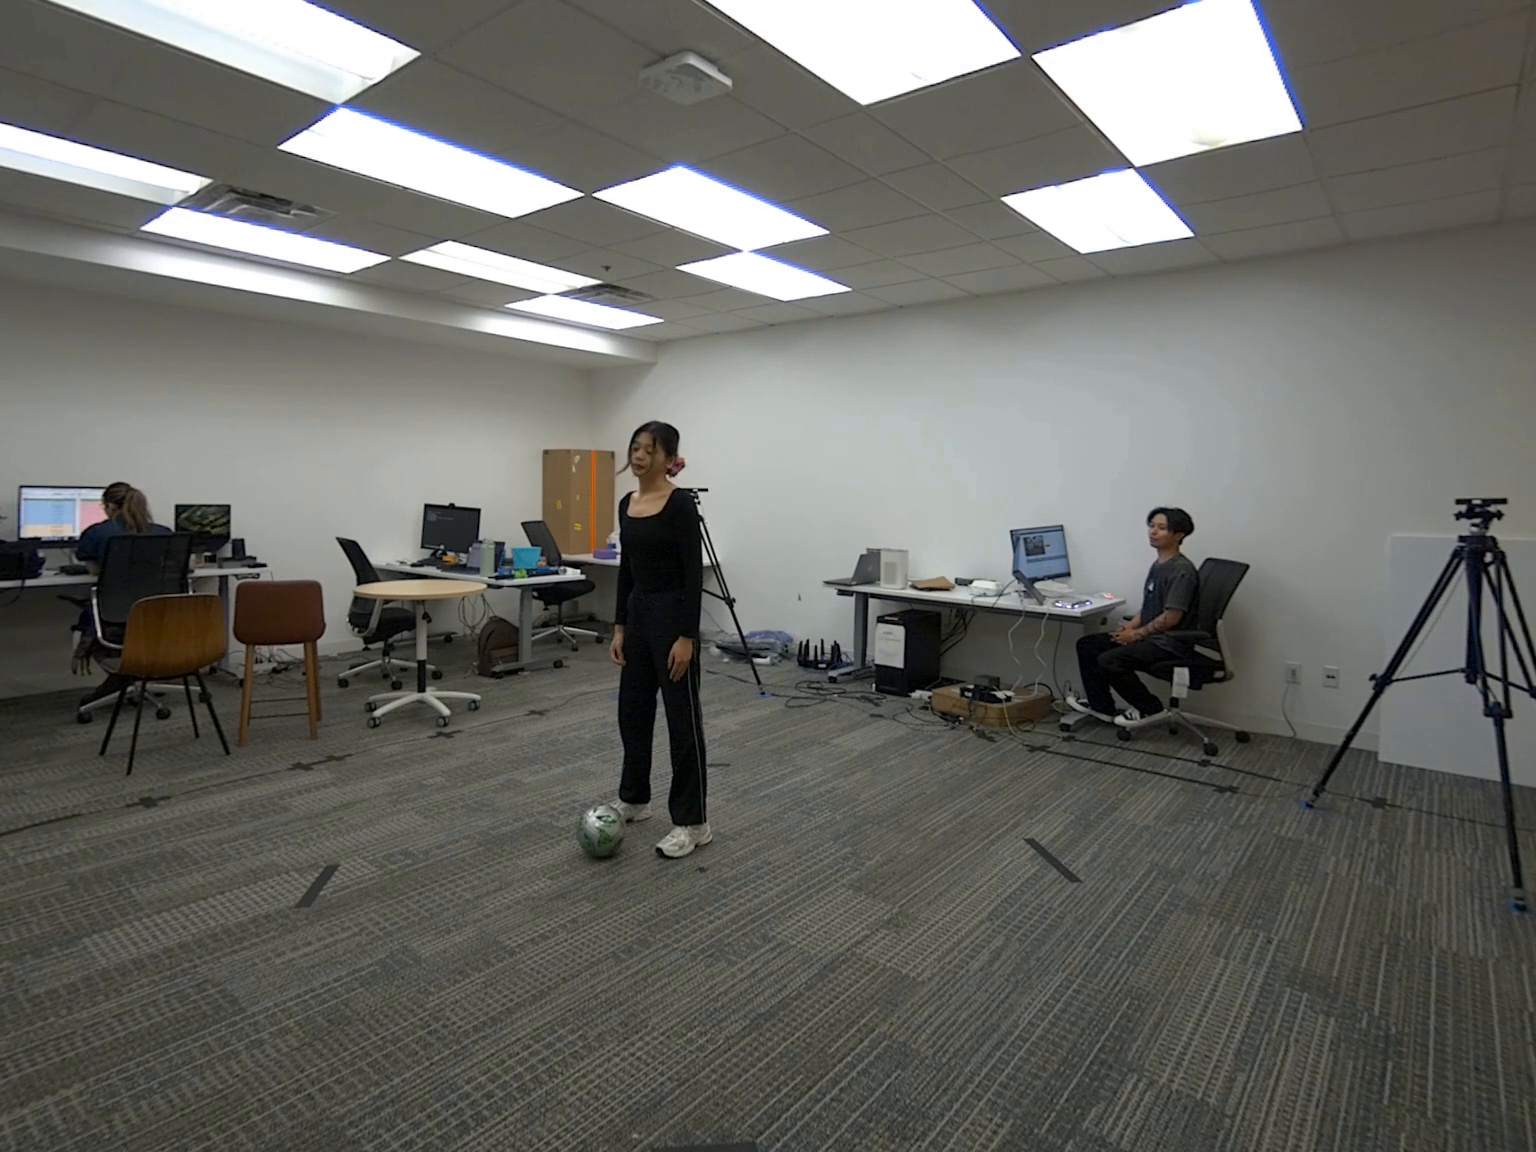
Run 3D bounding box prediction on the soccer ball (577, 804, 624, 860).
[{"bbox_3d":[-0.645,0.962,3.214,0.187,0.187,0.188,1,4,-2],"label":"soccer ball"}]
